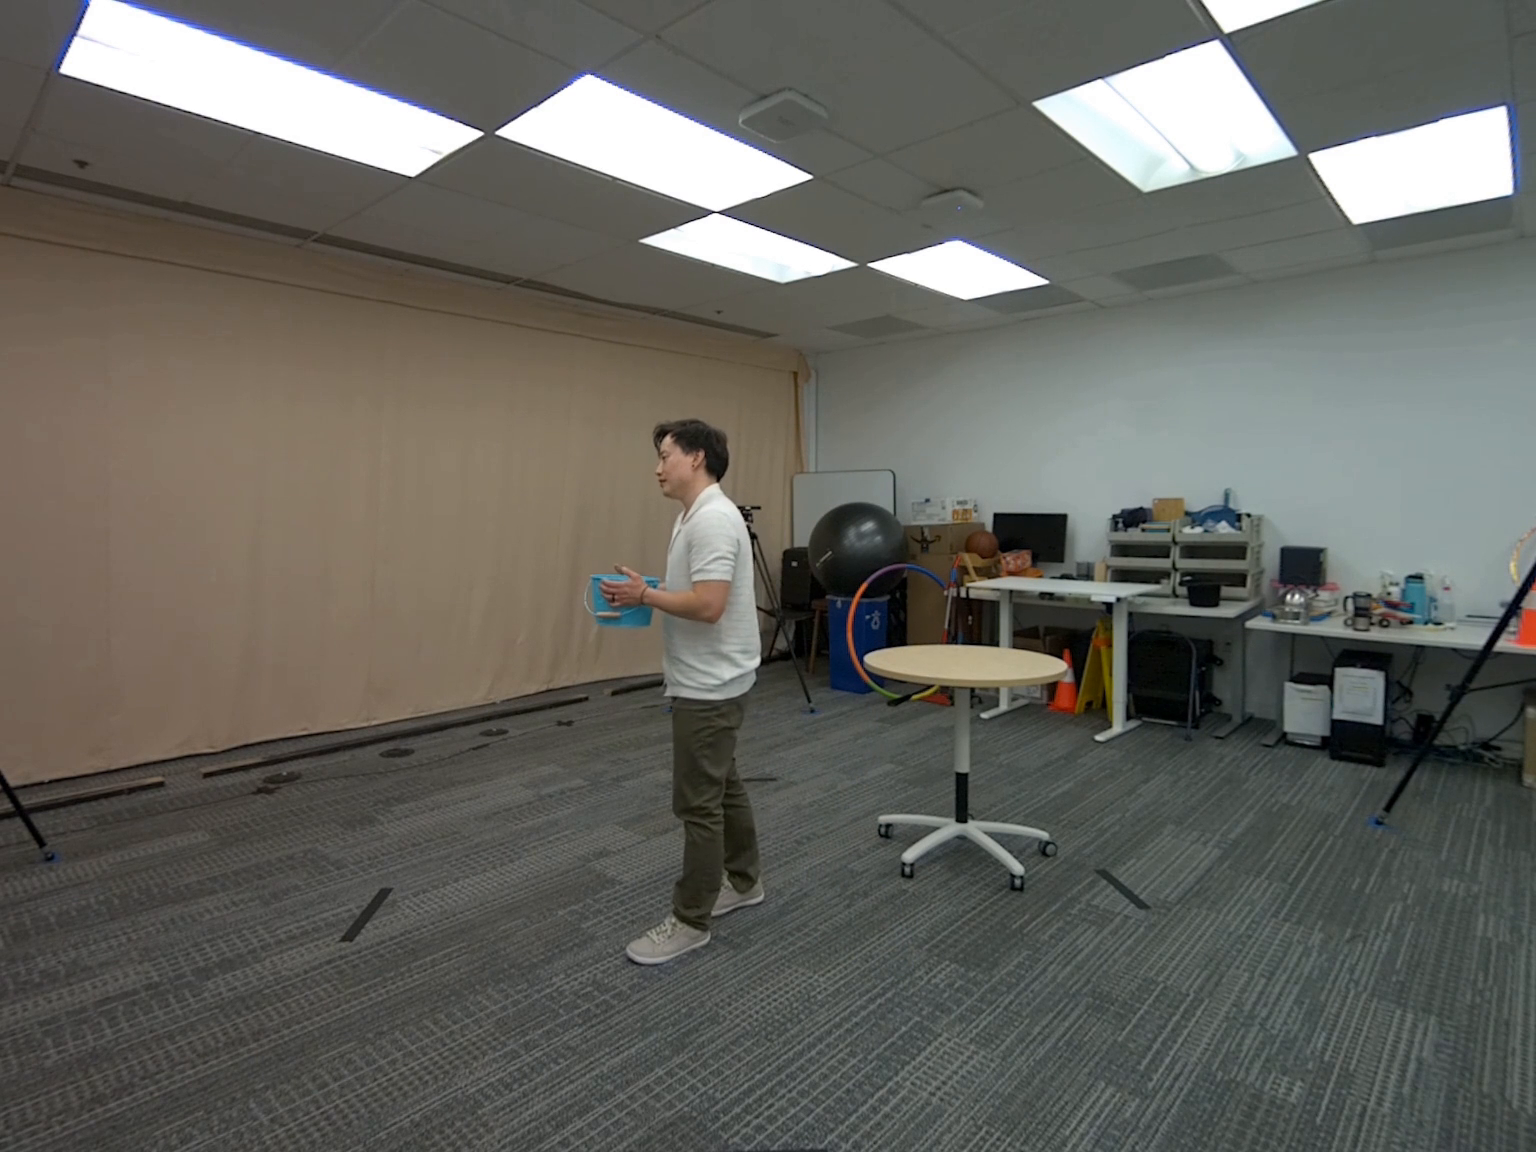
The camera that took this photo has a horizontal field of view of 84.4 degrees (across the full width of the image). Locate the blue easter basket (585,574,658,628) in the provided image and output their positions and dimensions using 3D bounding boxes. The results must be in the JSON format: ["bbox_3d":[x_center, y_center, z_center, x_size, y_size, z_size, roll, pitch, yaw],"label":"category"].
[{"bbox_3d":[-0.471,0.083,2.741,0.243,0.156,0.244,3,2,-2],"label":"blue easter basket"}]
